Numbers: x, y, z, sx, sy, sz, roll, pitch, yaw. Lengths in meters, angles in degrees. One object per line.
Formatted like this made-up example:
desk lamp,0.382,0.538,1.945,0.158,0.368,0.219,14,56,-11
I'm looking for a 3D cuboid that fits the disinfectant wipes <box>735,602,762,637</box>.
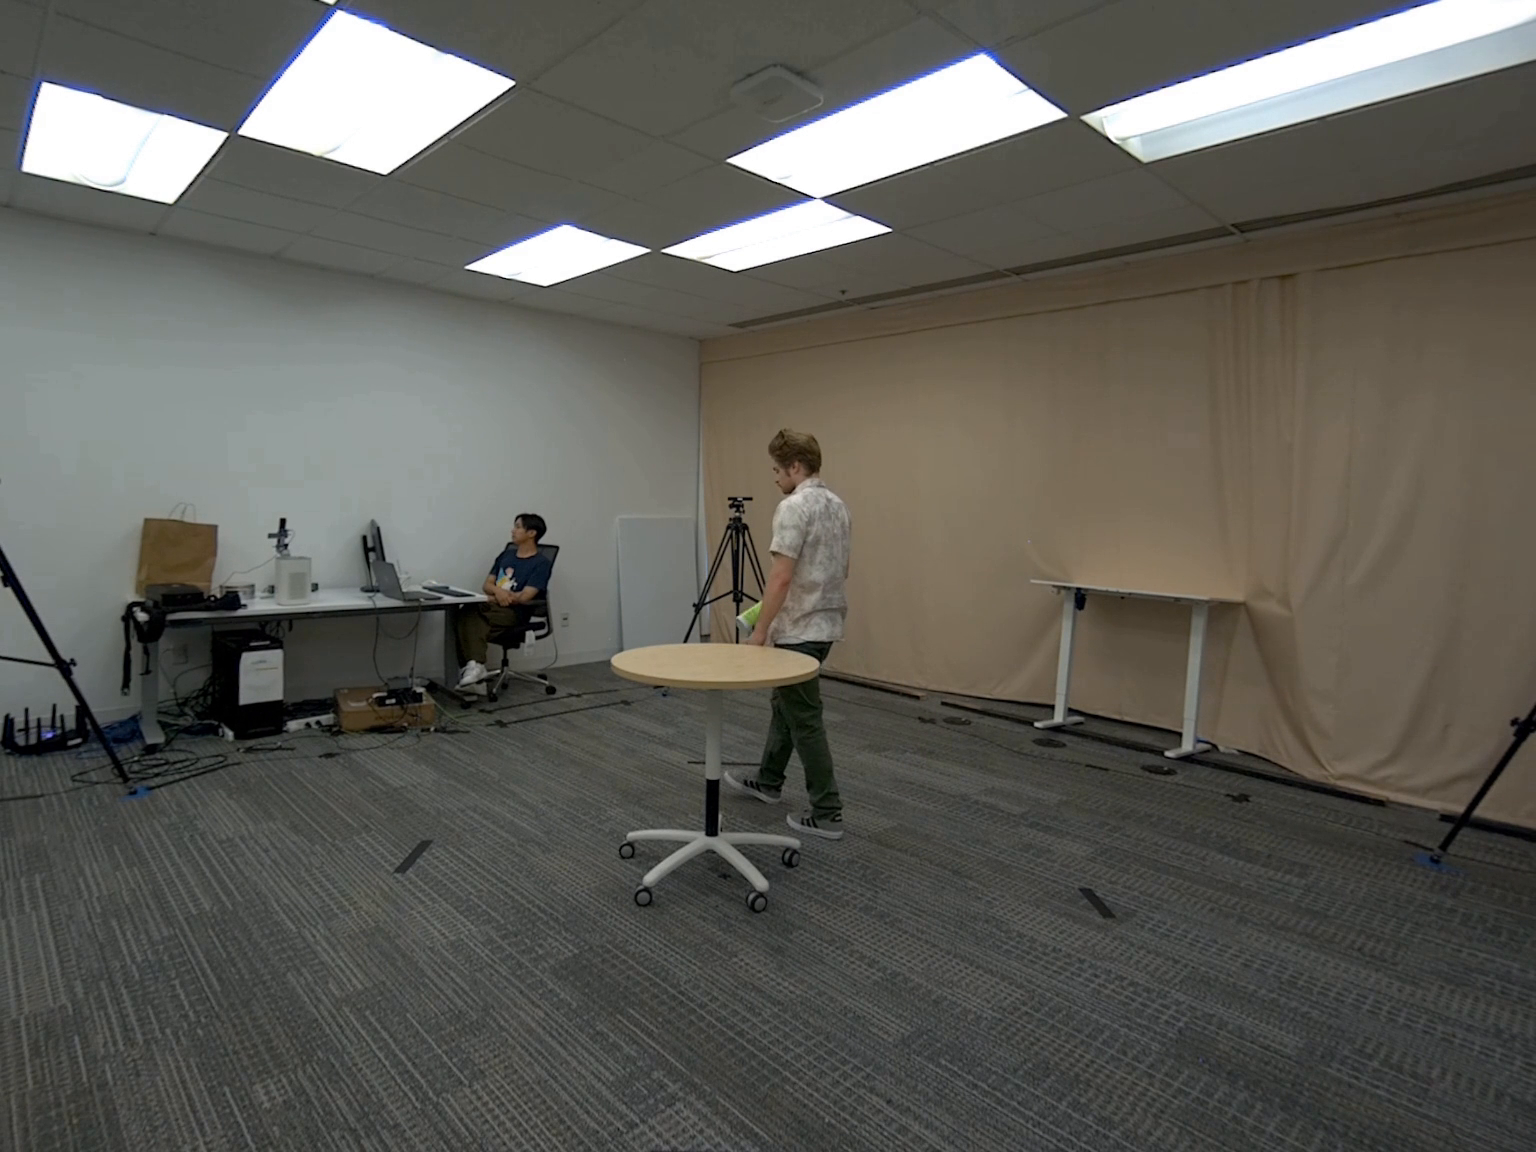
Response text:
disinfectant wipes,-0.050,0.182,3.937,0.216,0.116,0.120,-32,16,-17
